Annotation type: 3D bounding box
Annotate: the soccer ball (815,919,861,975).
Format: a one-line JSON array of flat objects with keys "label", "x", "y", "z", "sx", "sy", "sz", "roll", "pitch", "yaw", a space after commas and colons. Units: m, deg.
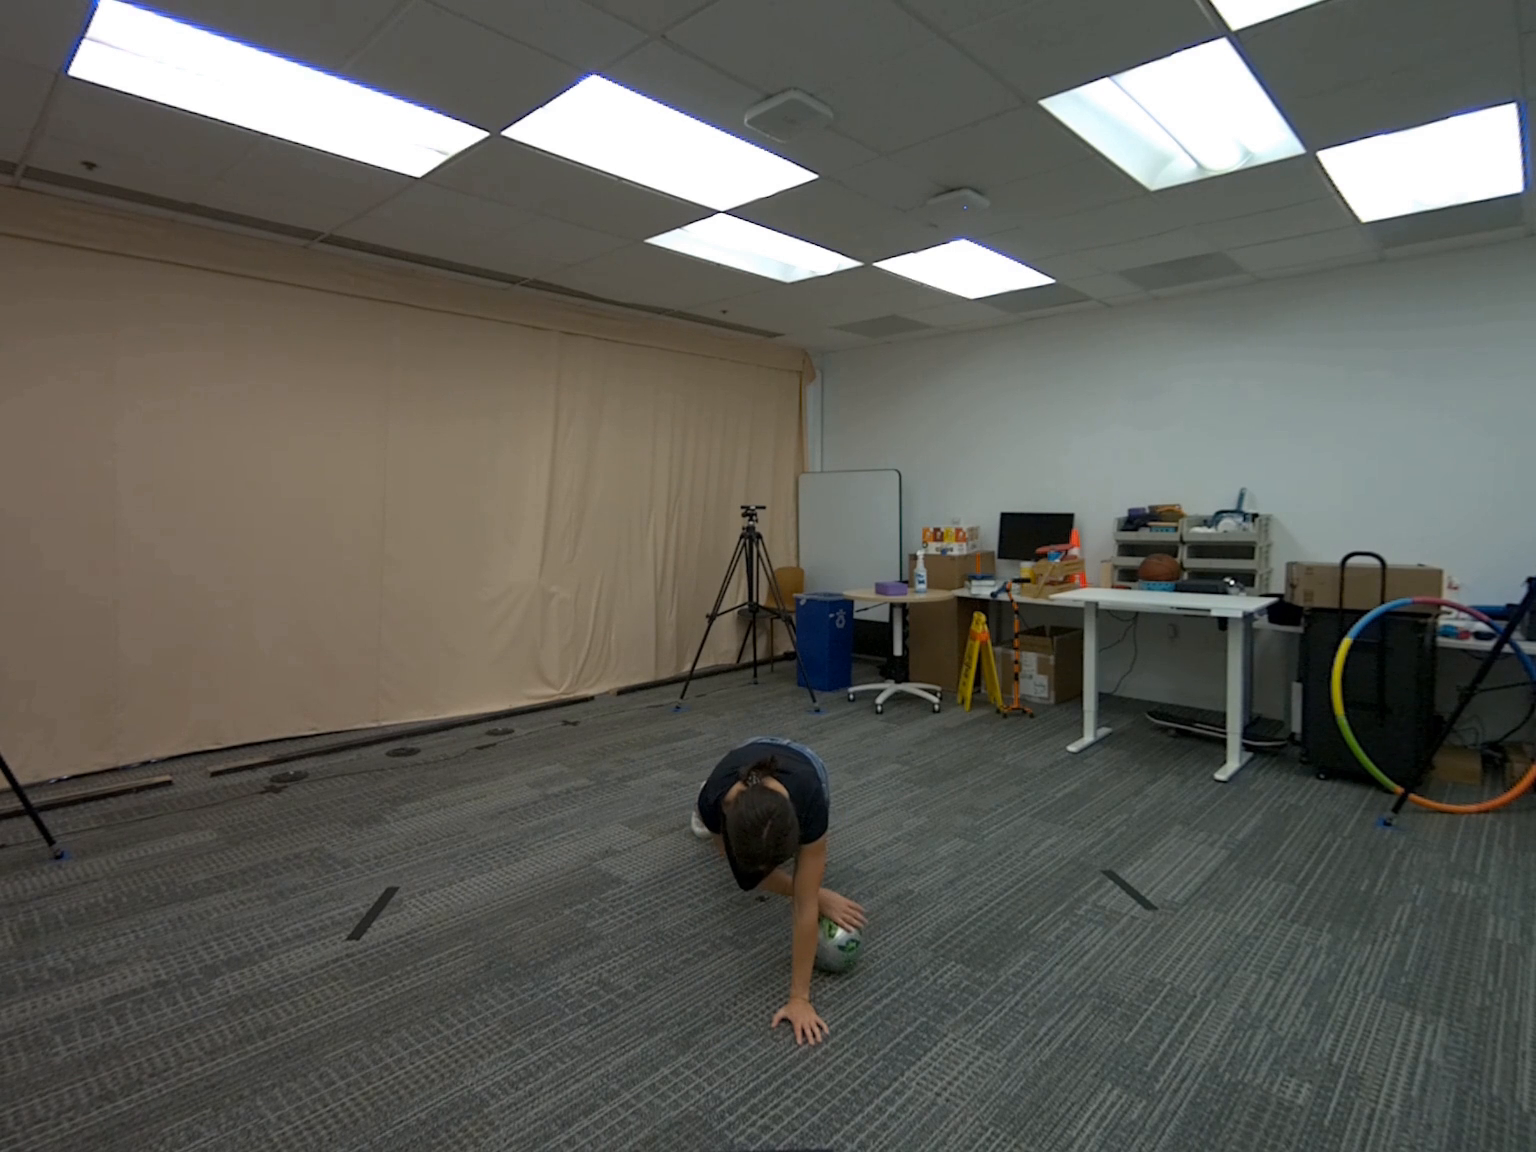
[{"label": "soccer ball", "x": 0.187, "y": 1.083, "z": 2.536, "sx": 0.187, "sy": 0.187, "sz": 0.188, "roll": 0, "pitch": 4, "yaw": -2}]
